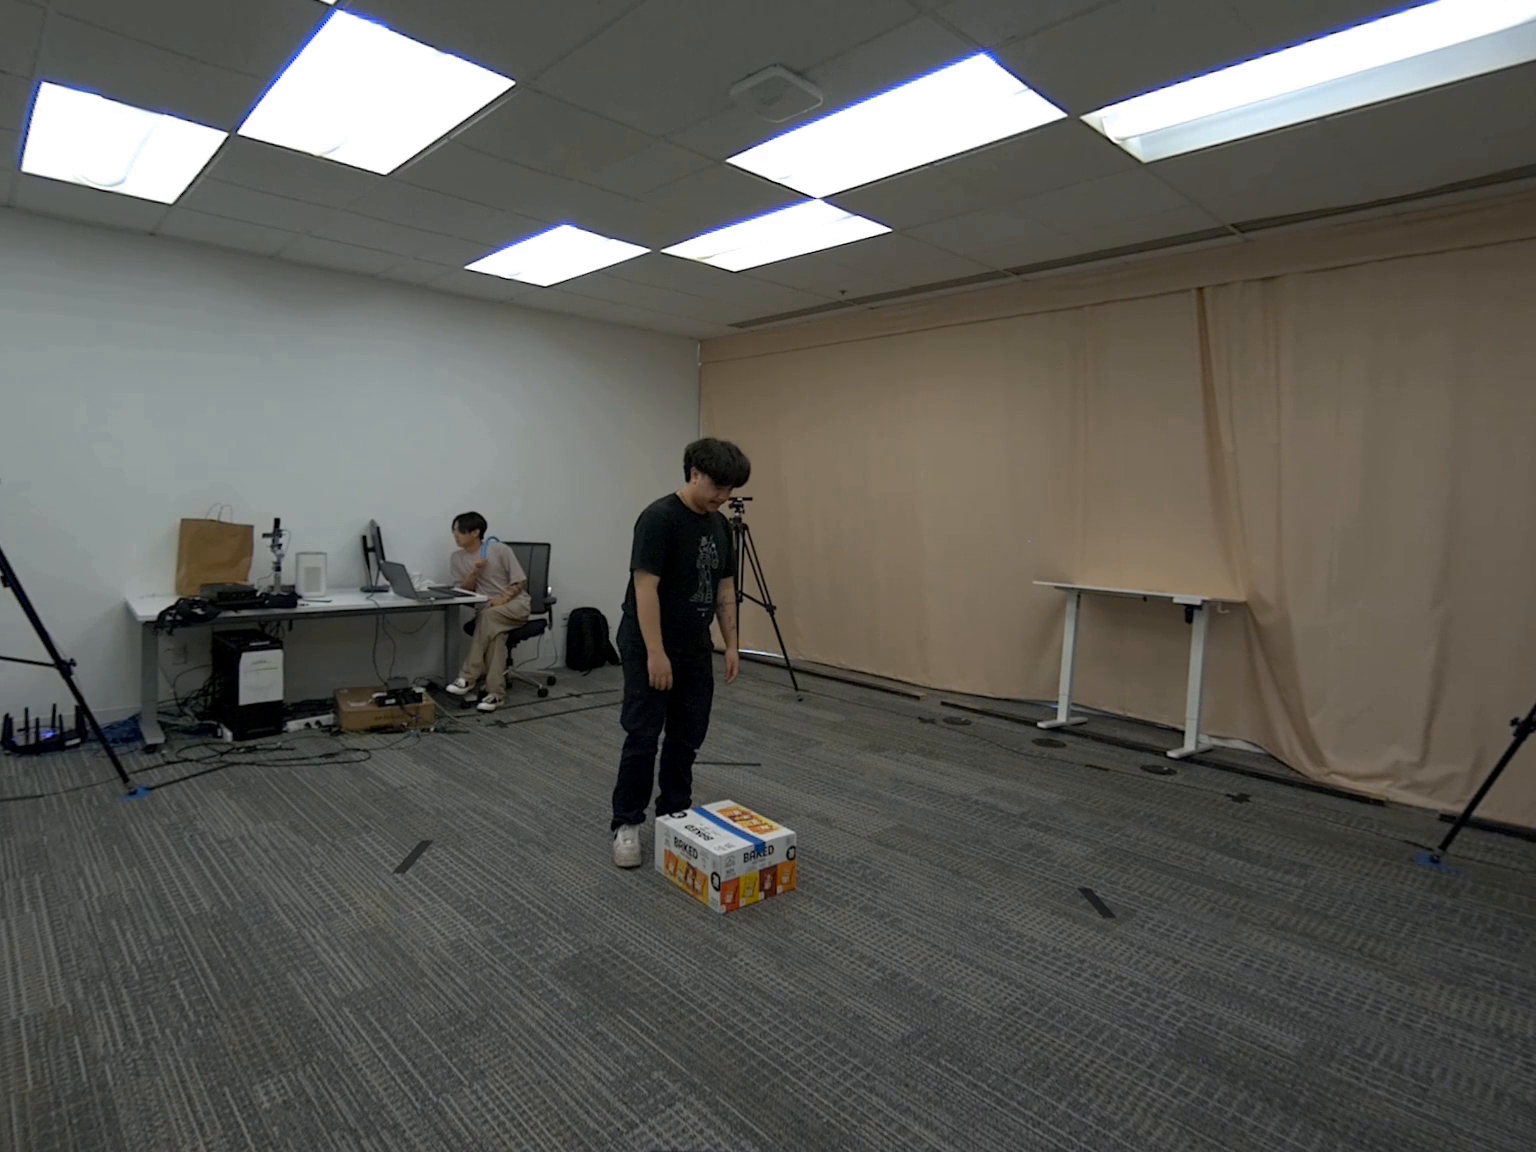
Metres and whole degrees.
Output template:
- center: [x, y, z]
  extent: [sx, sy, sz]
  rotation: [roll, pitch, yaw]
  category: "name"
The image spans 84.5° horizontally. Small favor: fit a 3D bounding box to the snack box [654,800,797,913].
- center: [-0.165, 1.011, 3.064]
  extent: [0.333, 0.205, 0.415]
  rotation: [-2, 6, -39]
  category: "snack box"
